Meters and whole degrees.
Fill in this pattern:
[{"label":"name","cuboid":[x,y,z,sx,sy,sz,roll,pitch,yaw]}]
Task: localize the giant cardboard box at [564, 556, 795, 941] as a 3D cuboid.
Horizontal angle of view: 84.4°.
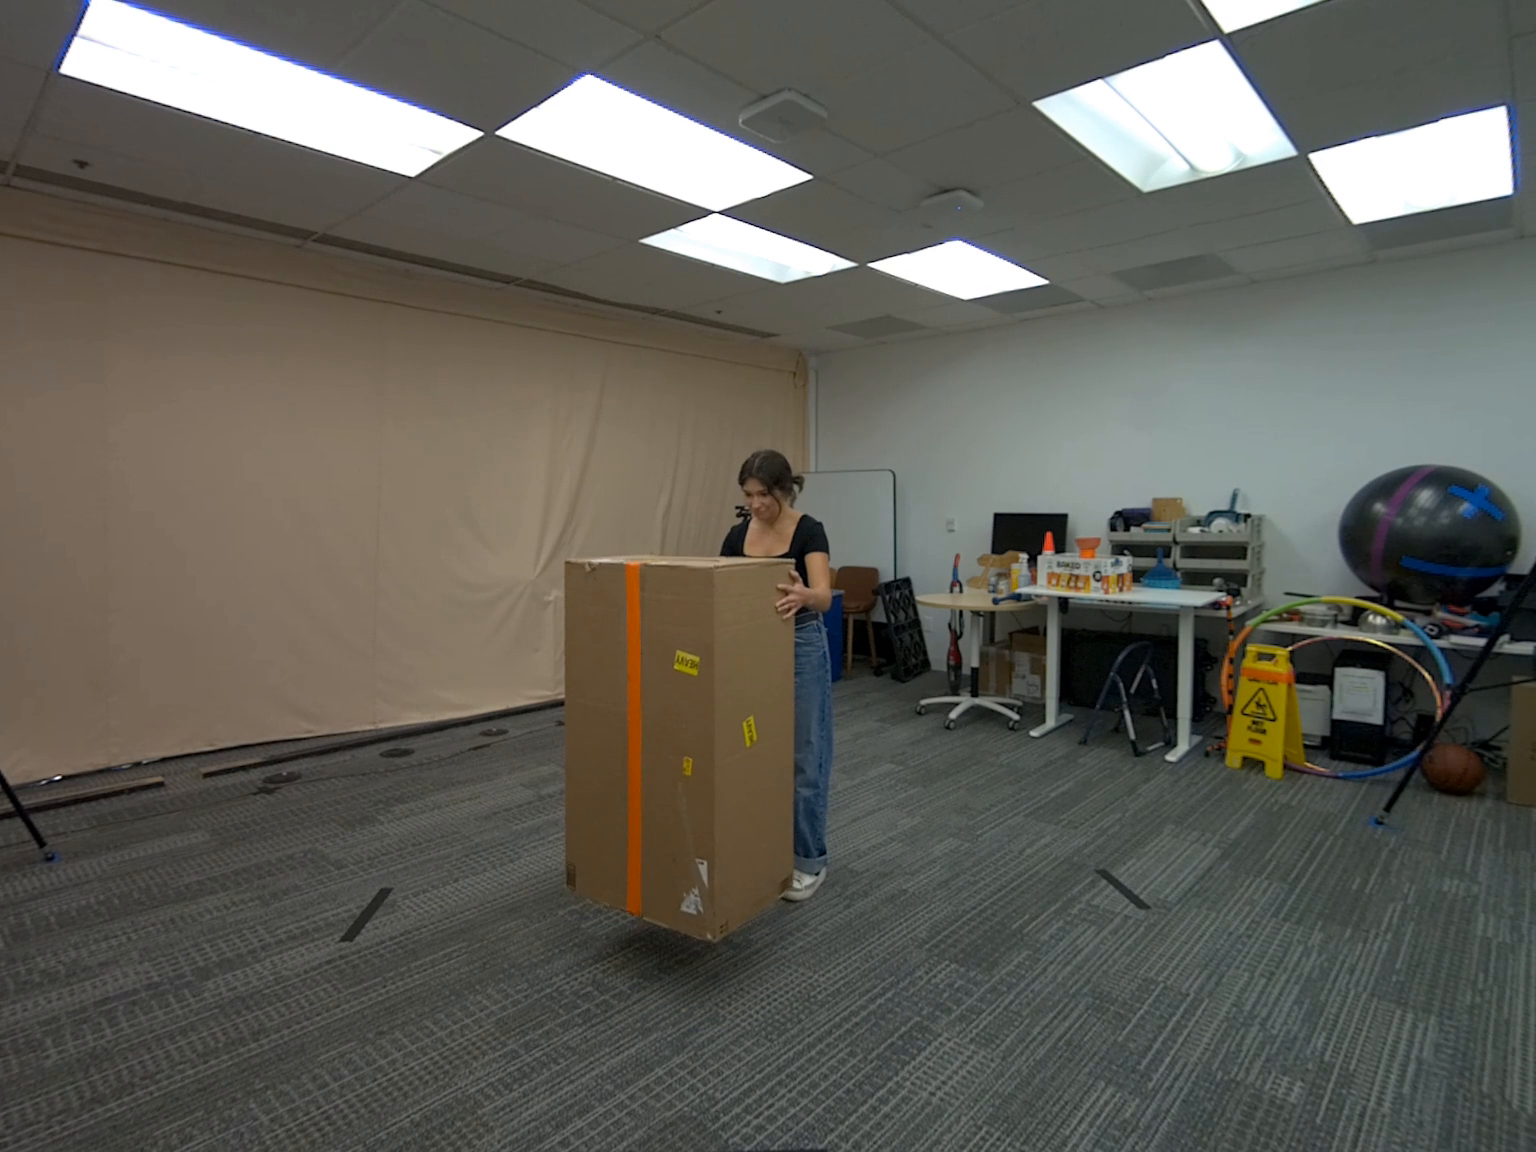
[{"label":"giant cardboard box","cuboid":[-0.275,0.467,2.583,0.595,1.024,0.414,2,2,34]}]
